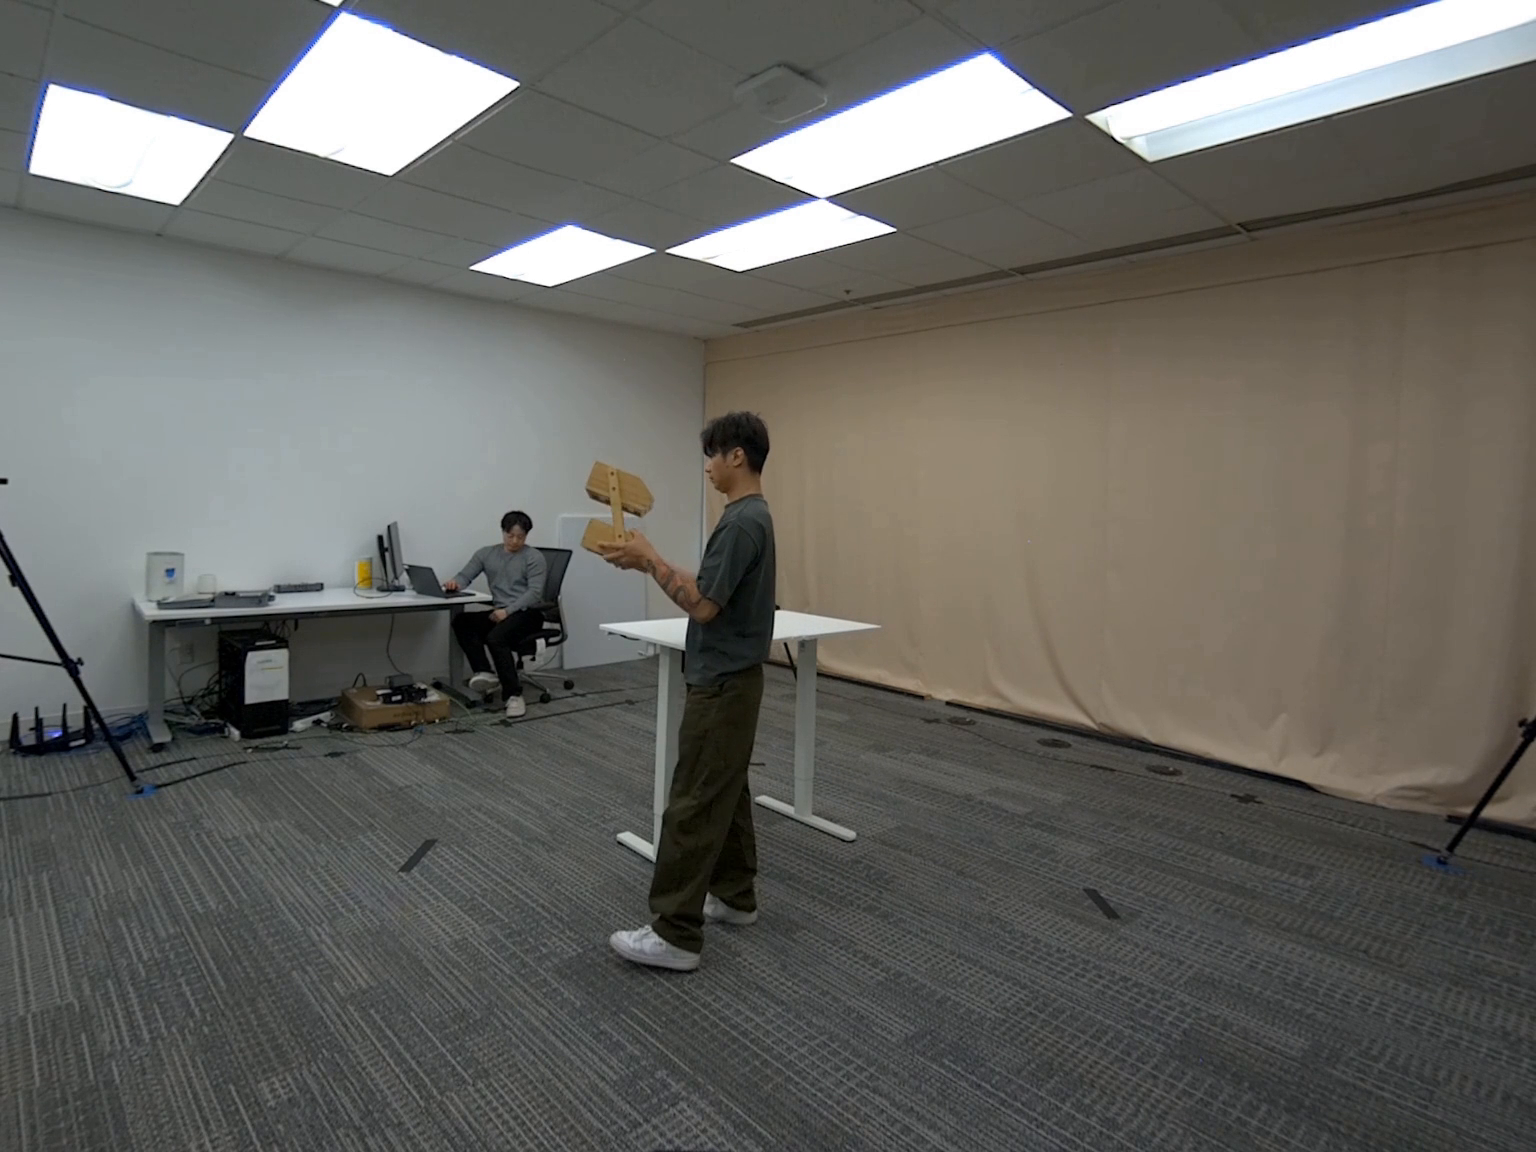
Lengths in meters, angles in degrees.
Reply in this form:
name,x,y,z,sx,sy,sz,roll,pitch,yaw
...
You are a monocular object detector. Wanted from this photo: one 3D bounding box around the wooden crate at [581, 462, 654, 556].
name,x,y,z,sx,sy,sz,roll,pitch,yaw
wooden crate,-0.456,-0.180,2.715,0.300,0.274,0.326,21,-5,-7
